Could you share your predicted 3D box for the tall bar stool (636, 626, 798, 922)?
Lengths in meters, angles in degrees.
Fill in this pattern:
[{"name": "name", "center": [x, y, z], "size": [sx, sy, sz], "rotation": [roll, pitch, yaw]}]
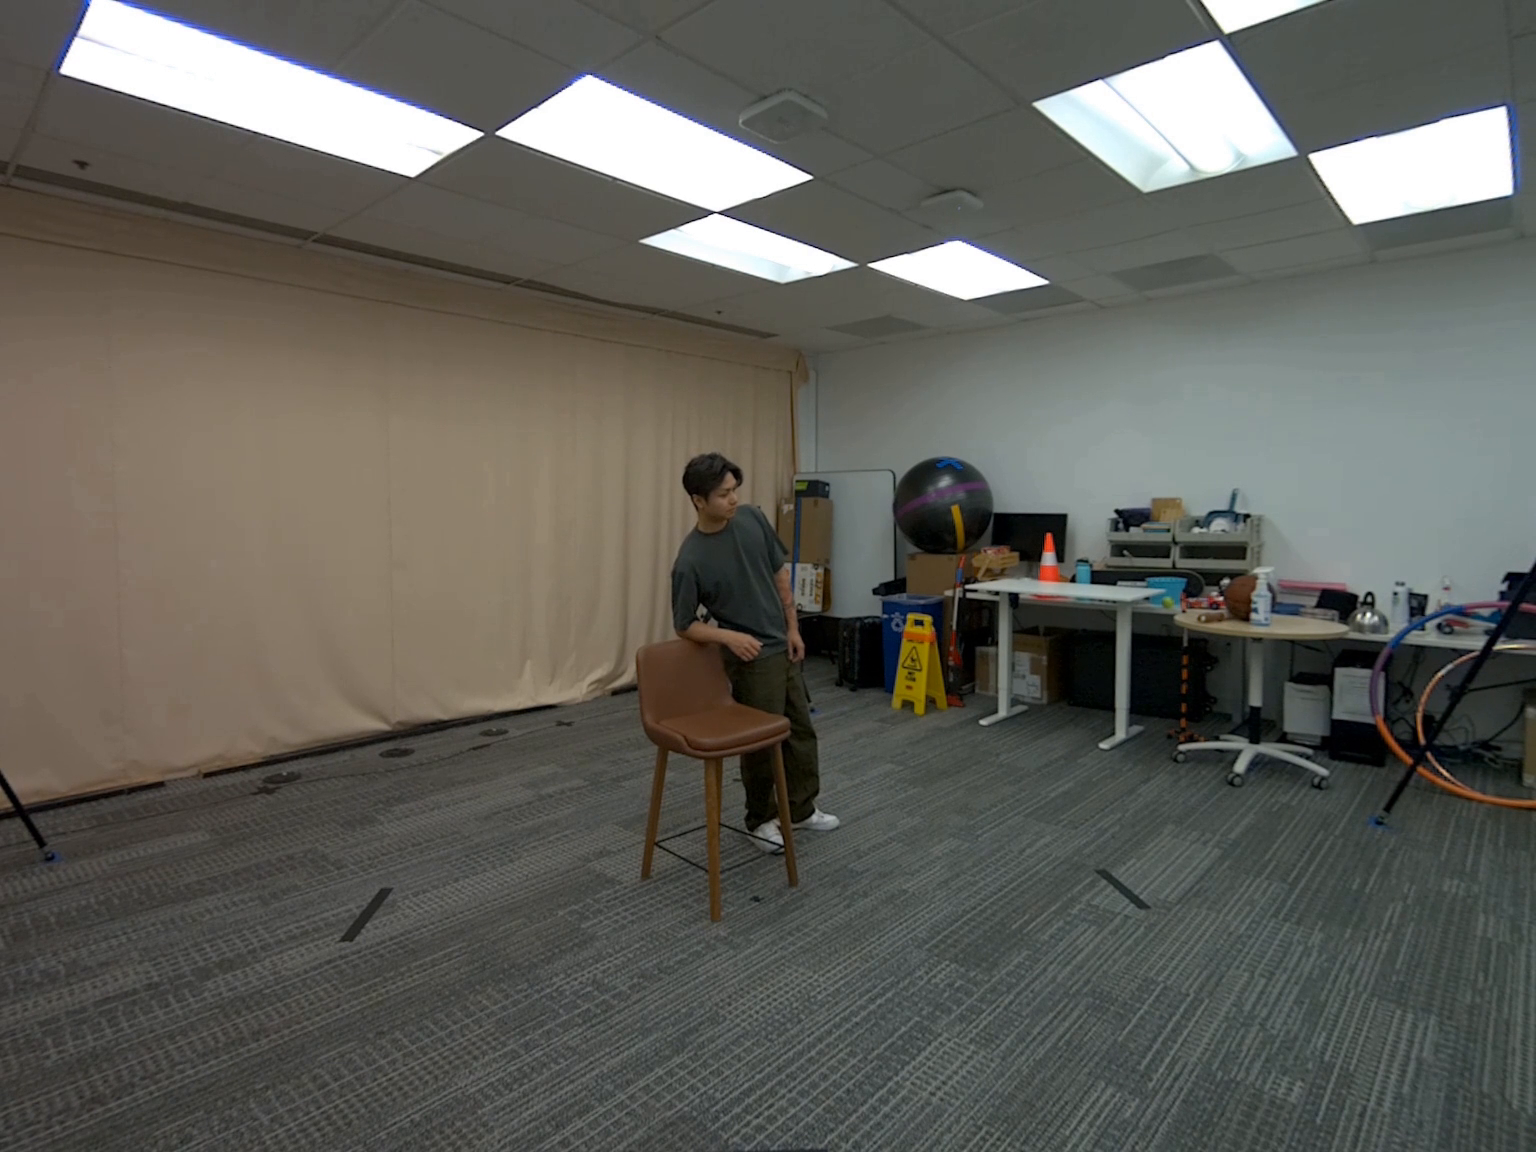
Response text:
[{"name": "tall bar stool", "center": [-0.202, 0.698, 3.095], "size": [0.442, 0.889, 0.482], "rotation": [-3, 2, -43]}]
